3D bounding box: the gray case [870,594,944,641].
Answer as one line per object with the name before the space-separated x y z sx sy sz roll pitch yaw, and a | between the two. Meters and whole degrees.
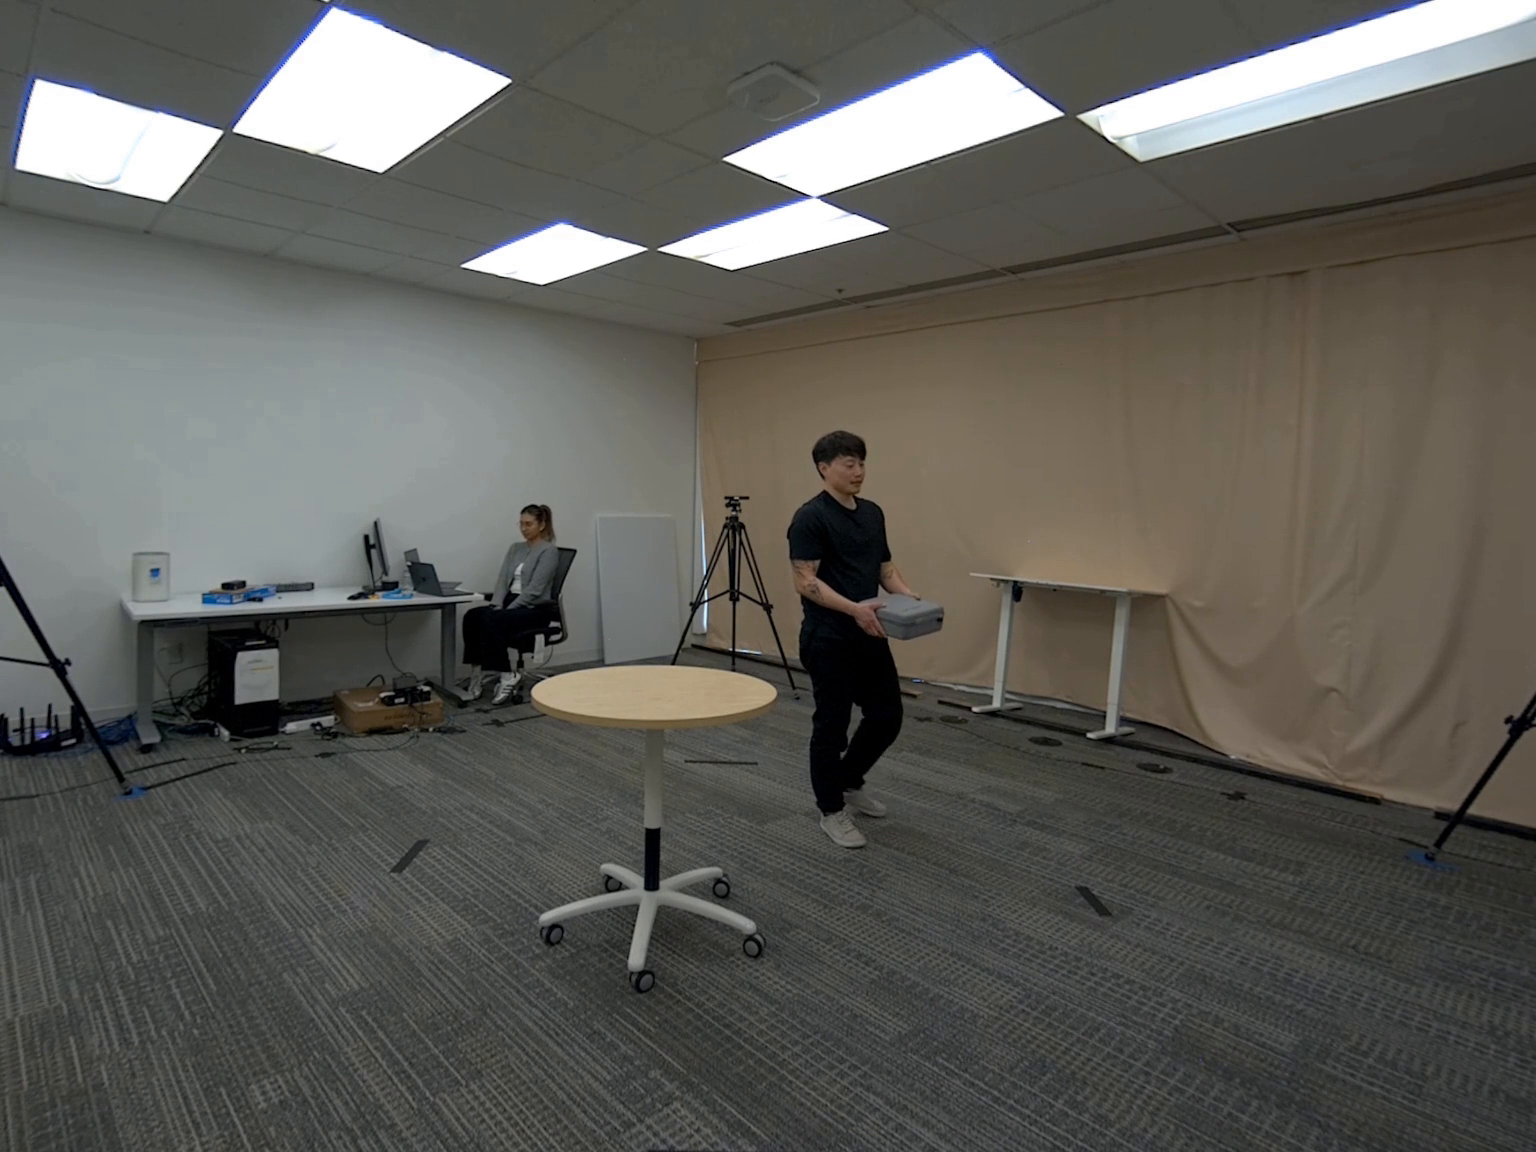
gray case | 0.496 0.153 3.244 0.252 0.103 0.268 -12 18 -41
